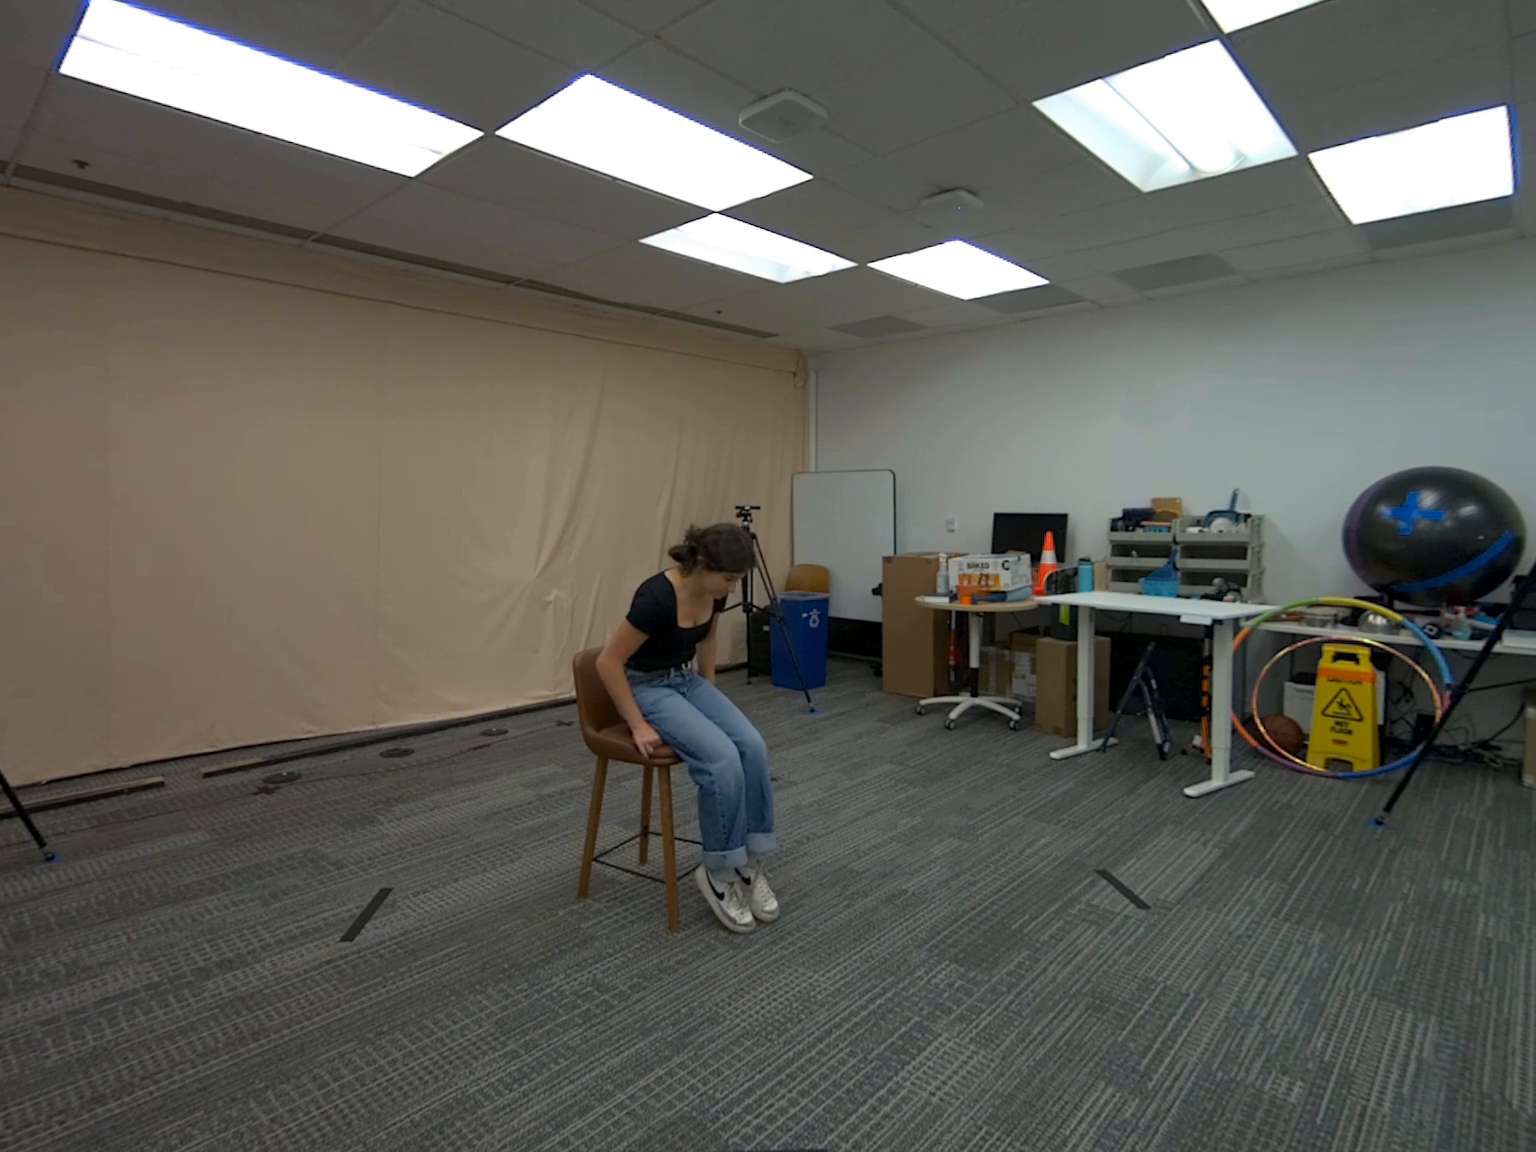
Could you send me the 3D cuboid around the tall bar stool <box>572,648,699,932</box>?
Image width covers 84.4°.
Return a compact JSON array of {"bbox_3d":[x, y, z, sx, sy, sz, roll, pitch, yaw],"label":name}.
[{"bbox_3d":[-0.406,0.712,3.026,0.481,0.888,0.444,0,3,32],"label":"tall bar stool"}]
